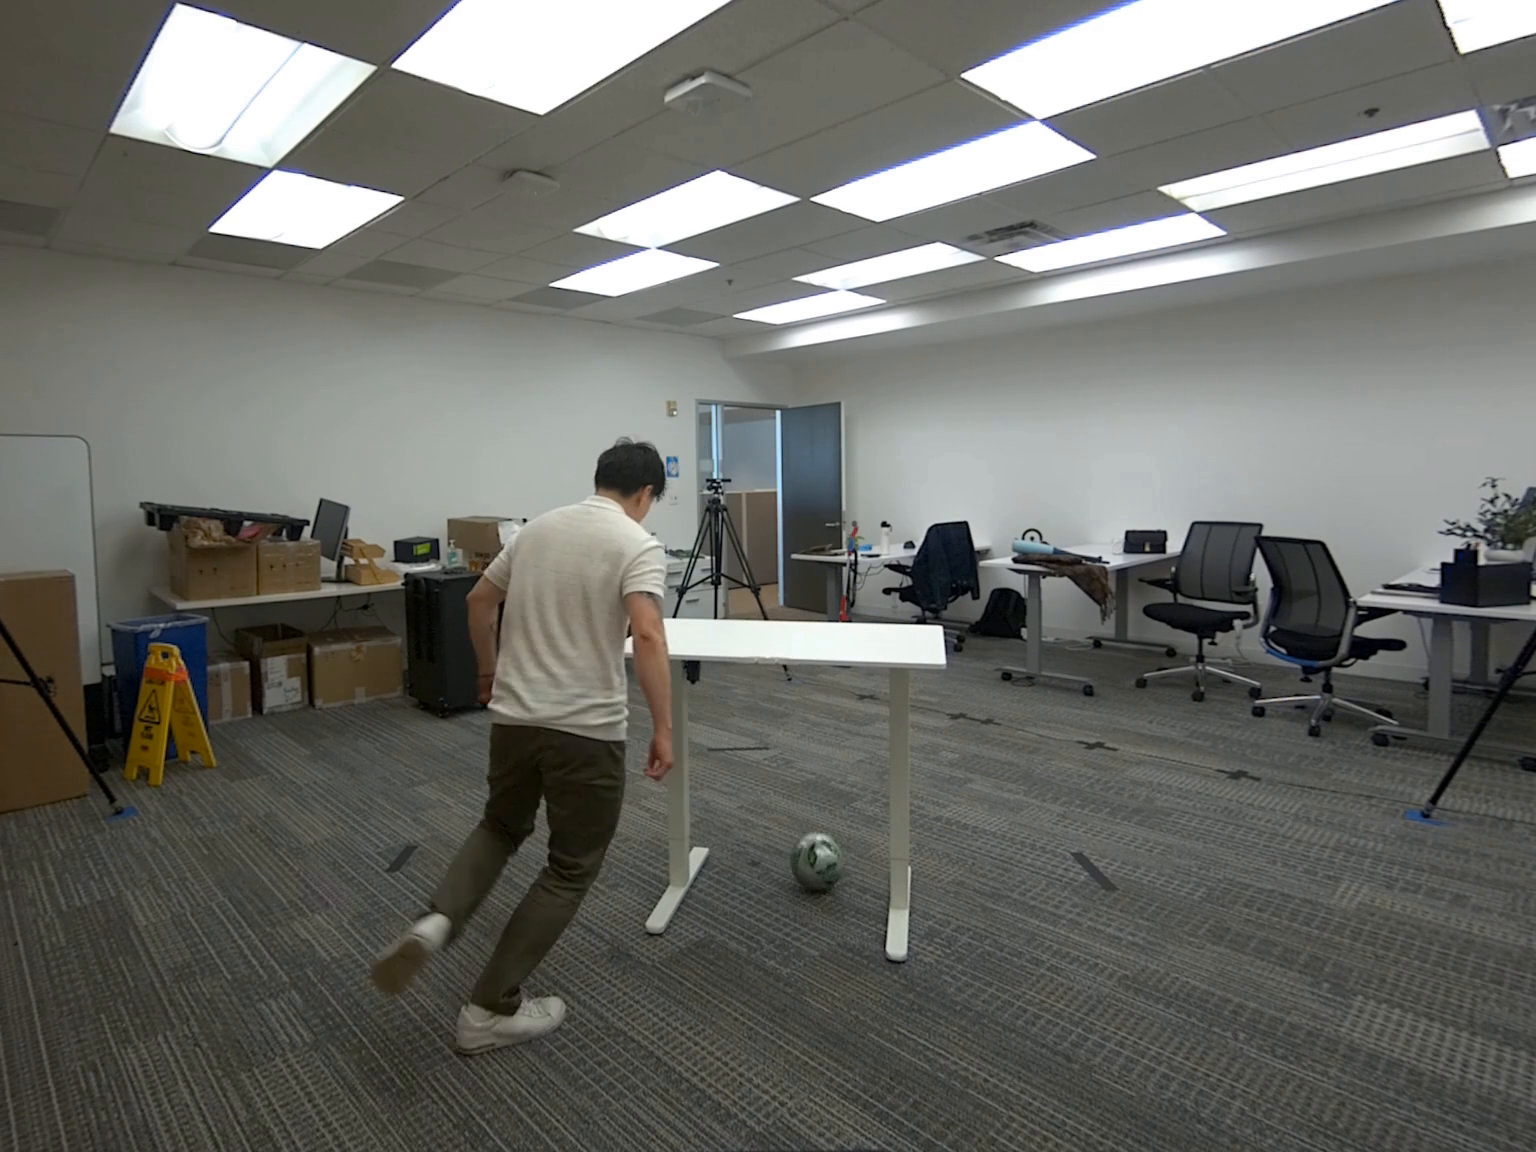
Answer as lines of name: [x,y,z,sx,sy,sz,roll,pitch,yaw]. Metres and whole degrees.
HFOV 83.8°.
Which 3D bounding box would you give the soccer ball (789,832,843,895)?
soccer ball: [0.169,0.966,2.901,0.187,0.187,0.188,-1,5,-2]
